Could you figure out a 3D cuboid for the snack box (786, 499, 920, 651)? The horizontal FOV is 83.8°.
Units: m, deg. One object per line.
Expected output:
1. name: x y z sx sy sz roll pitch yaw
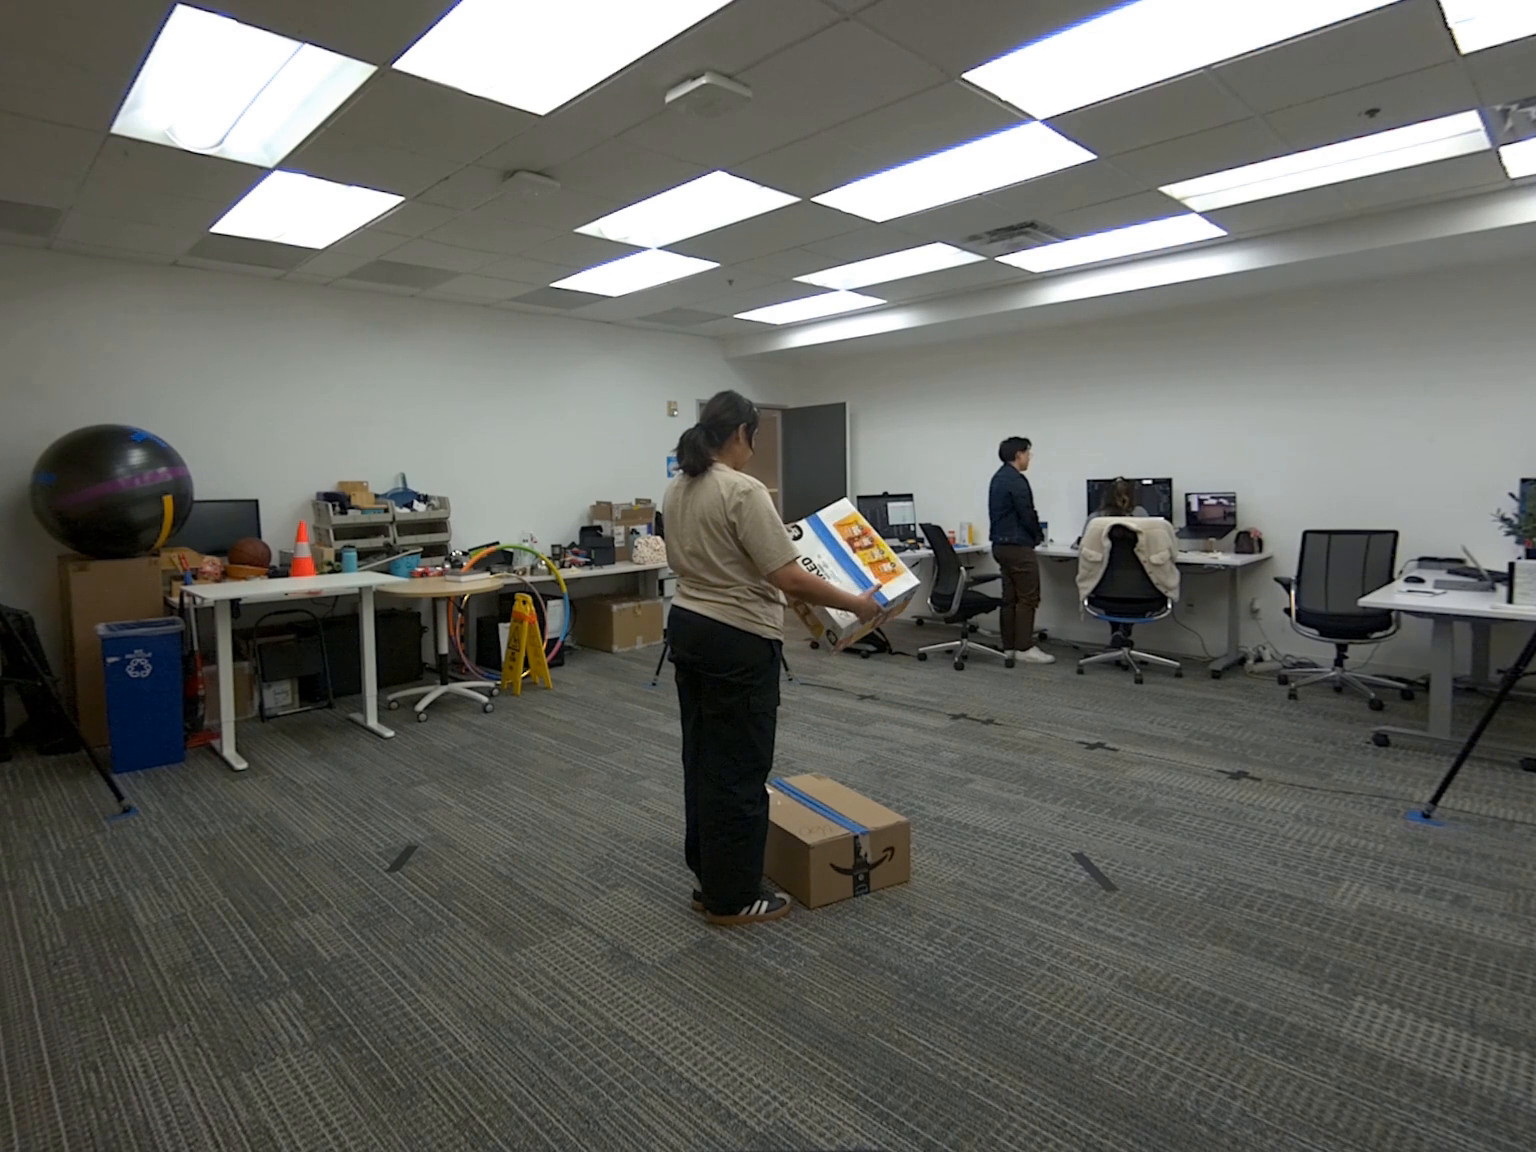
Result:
1. snack box: 0.244 -0.007 2.922 0.337 0.417 0.202 -28 -25 -24
